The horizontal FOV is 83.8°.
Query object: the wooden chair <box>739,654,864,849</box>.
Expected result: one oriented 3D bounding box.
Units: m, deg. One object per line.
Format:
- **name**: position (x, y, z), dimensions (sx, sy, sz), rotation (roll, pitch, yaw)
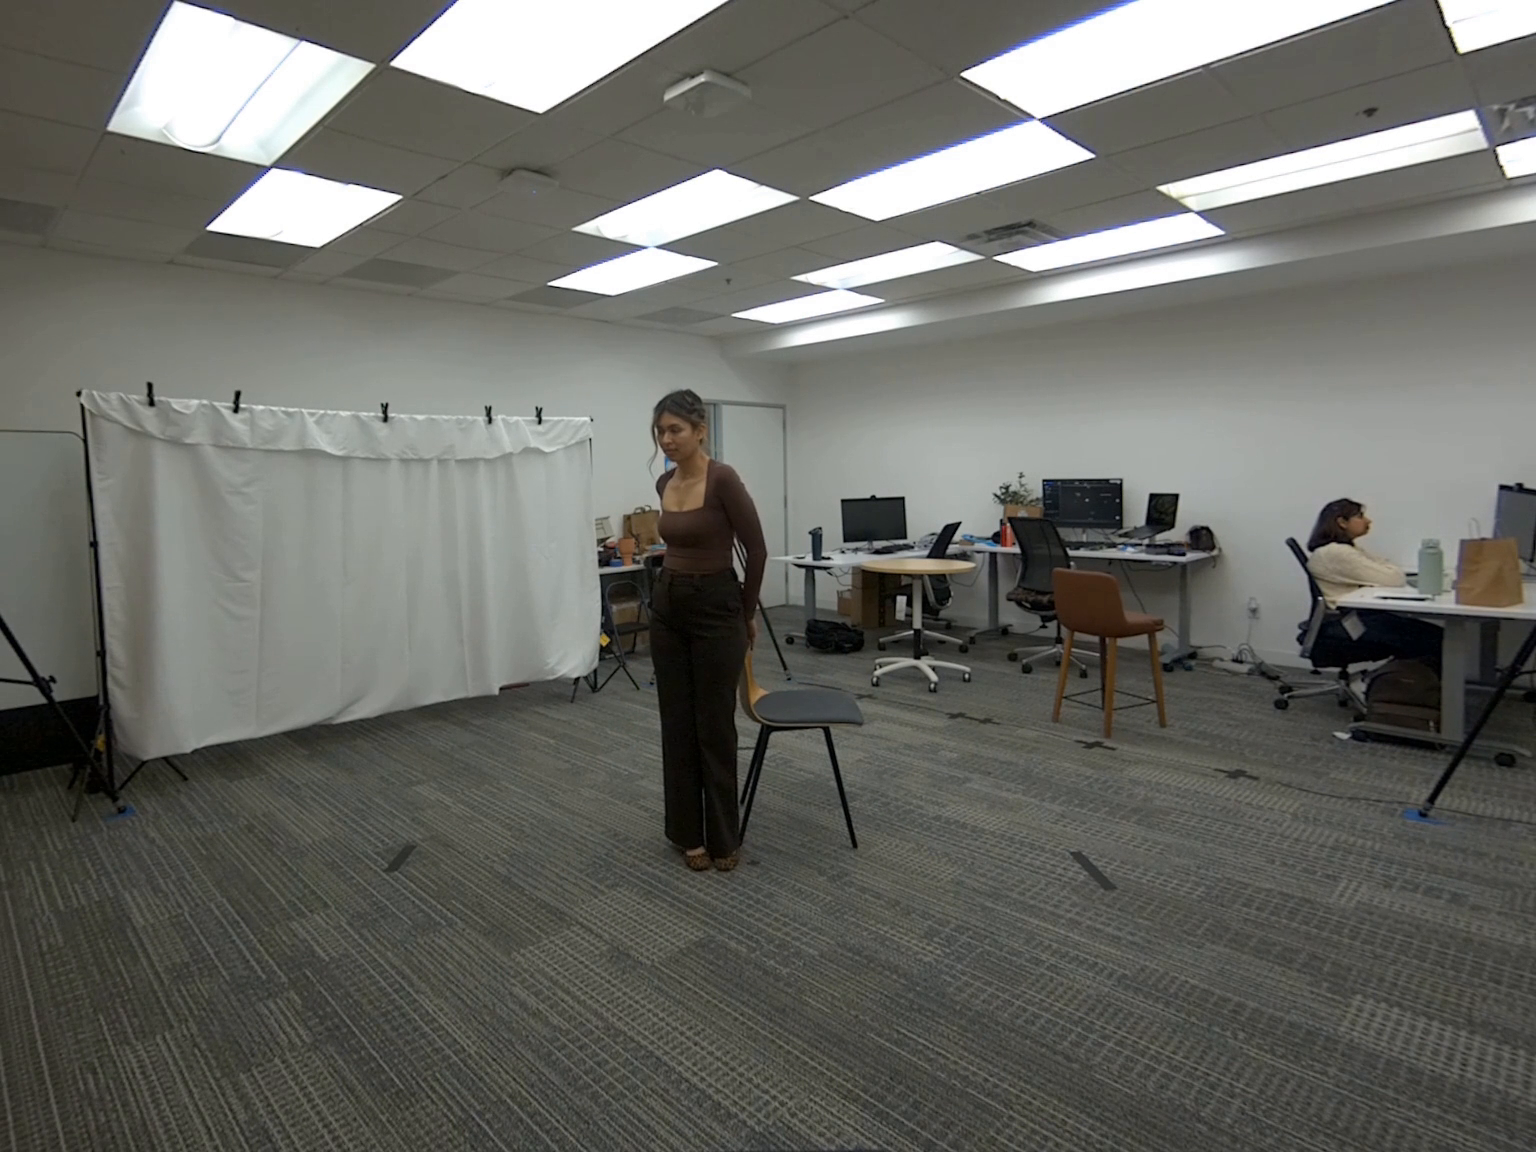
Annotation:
- **wooden chair**: position (0.110, 0.572, 3.420), dimensions (0.524, 0.874, 0.479), rotation (-5, 4, 1)
